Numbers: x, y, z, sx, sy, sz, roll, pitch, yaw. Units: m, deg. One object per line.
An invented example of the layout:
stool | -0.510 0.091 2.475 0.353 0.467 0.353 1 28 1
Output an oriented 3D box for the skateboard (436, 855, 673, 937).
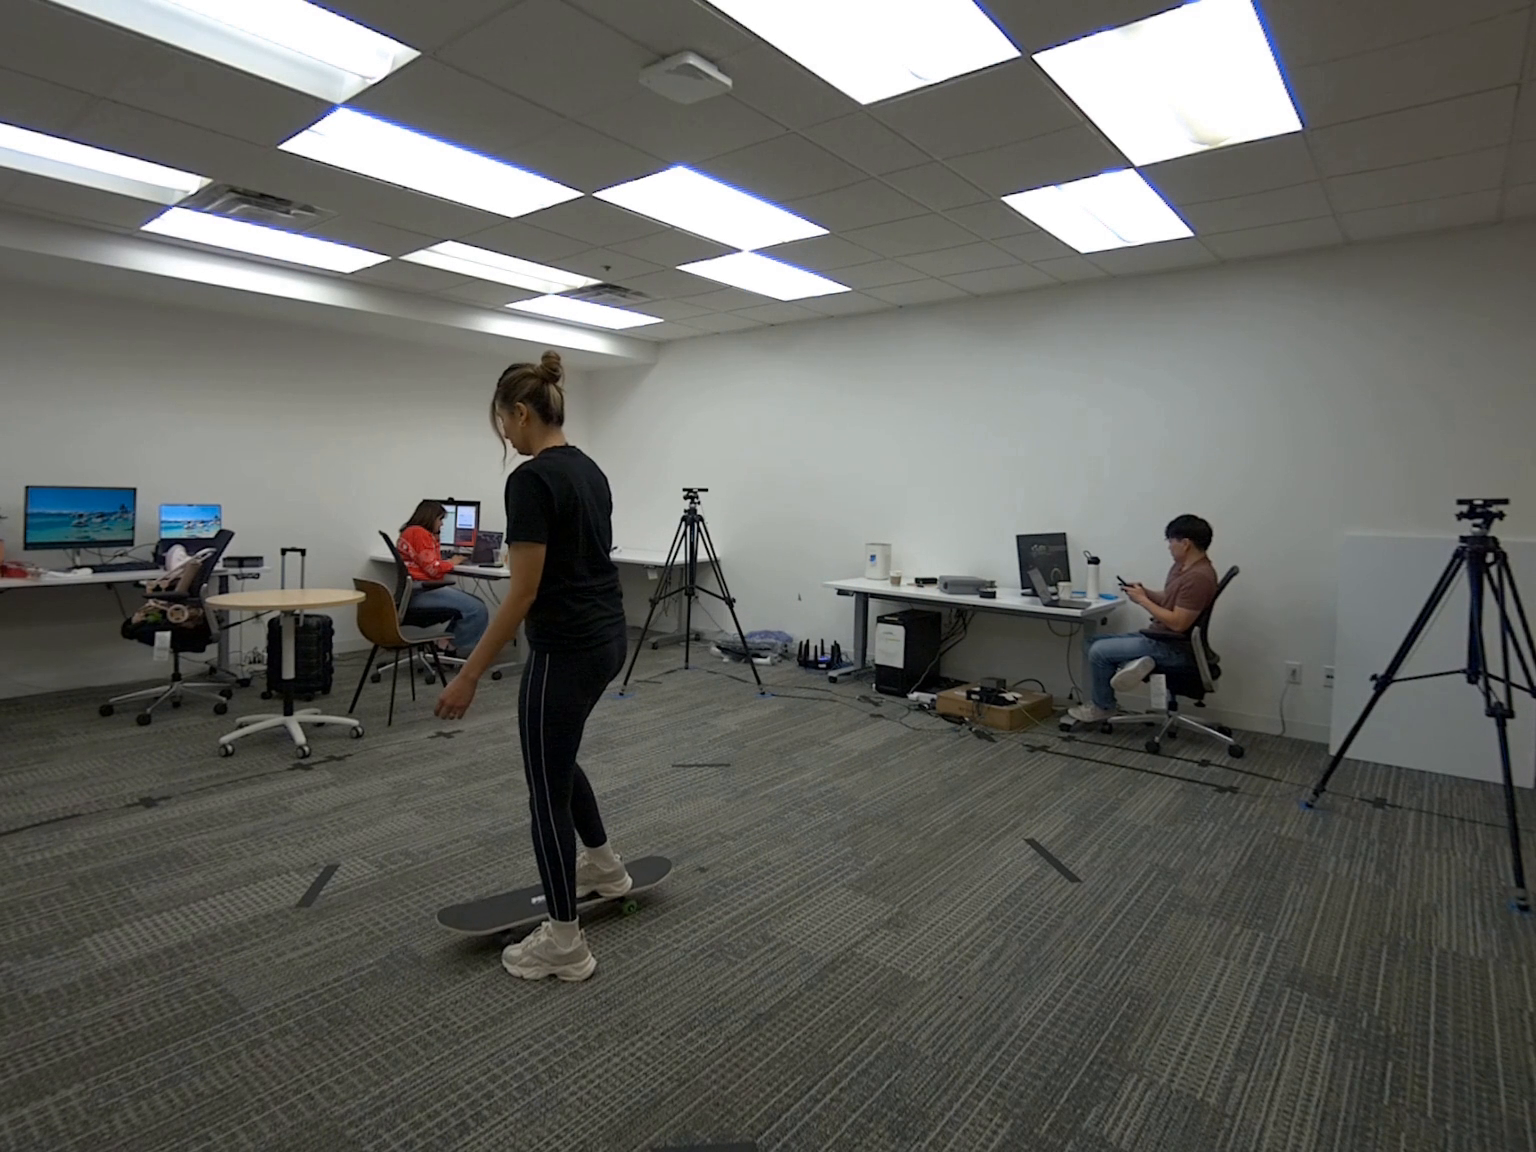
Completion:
skateboard | -0.674 1.047 2.714 0.764 0.110 0.200 -3 7 -33
